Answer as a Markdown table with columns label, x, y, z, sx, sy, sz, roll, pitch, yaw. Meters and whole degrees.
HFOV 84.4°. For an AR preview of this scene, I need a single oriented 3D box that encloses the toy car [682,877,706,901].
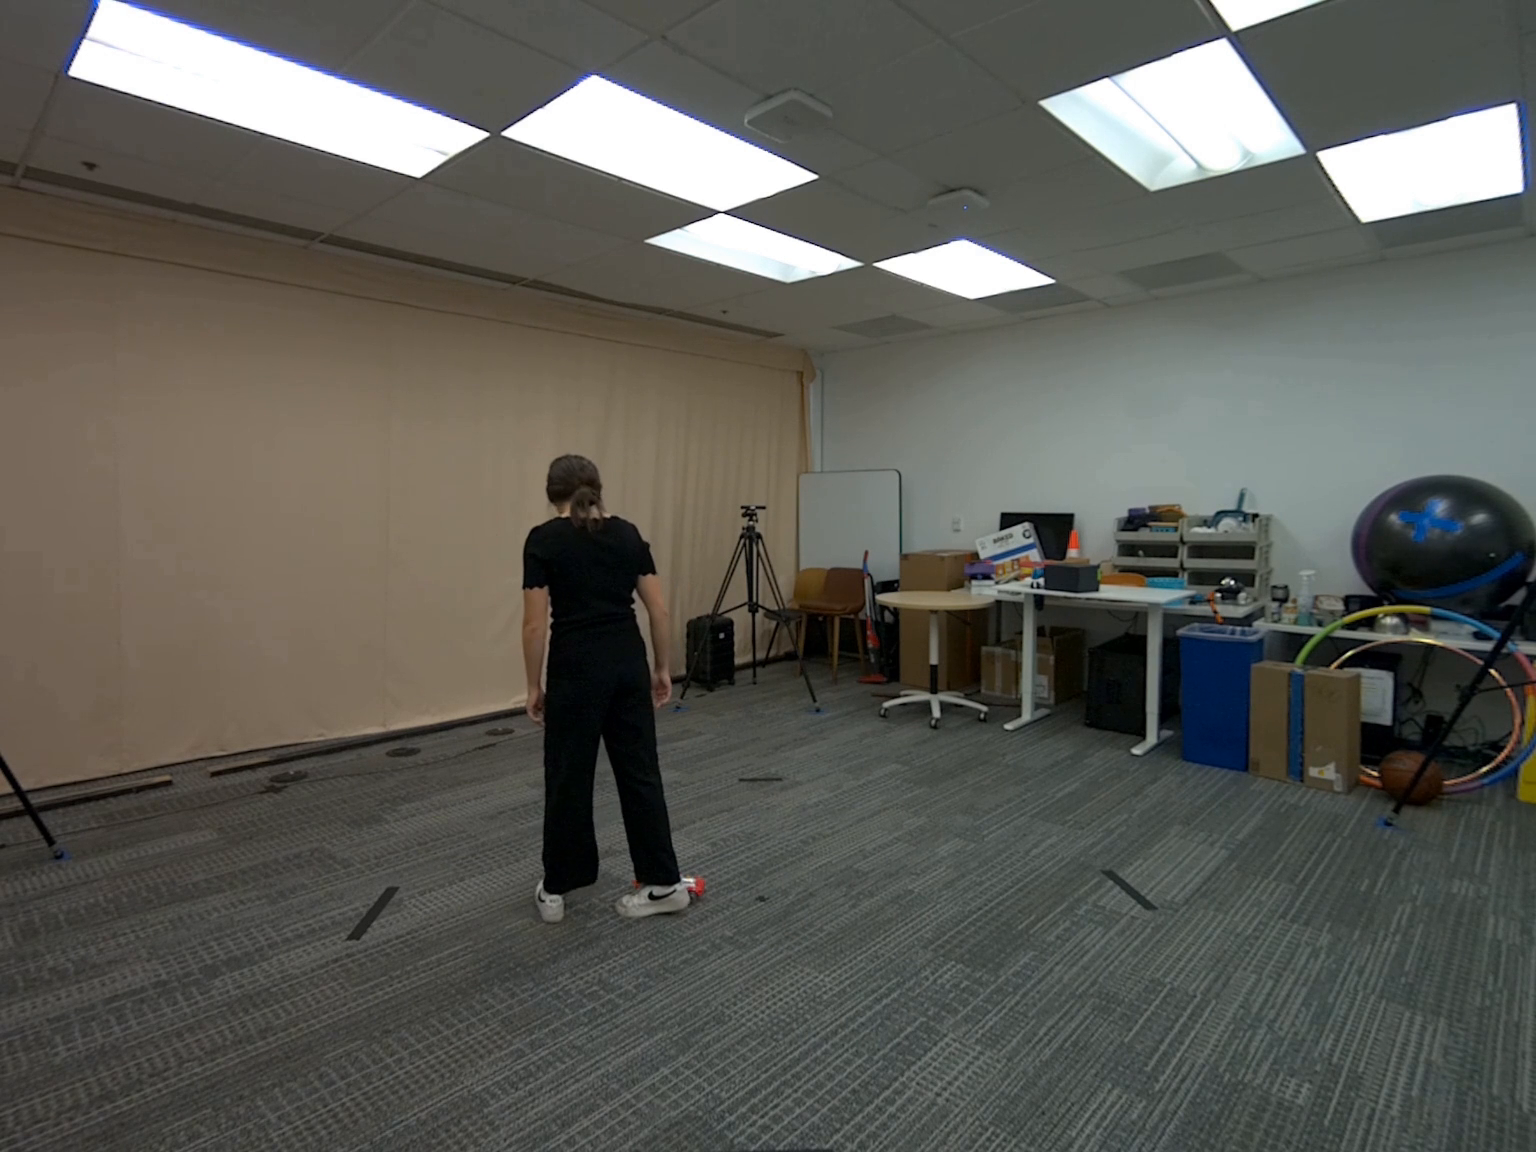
| label | x | y | z | sx | sy | sz | roll | pitch | yaw |
| --- | --- | --- | --- | --- | --- | --- | --- | --- | --- |
| toy car | -0.360 | 1.111 | 3.016 | 0.257 | 0.083 | 0.129 | 11 | 5 | 8 |
